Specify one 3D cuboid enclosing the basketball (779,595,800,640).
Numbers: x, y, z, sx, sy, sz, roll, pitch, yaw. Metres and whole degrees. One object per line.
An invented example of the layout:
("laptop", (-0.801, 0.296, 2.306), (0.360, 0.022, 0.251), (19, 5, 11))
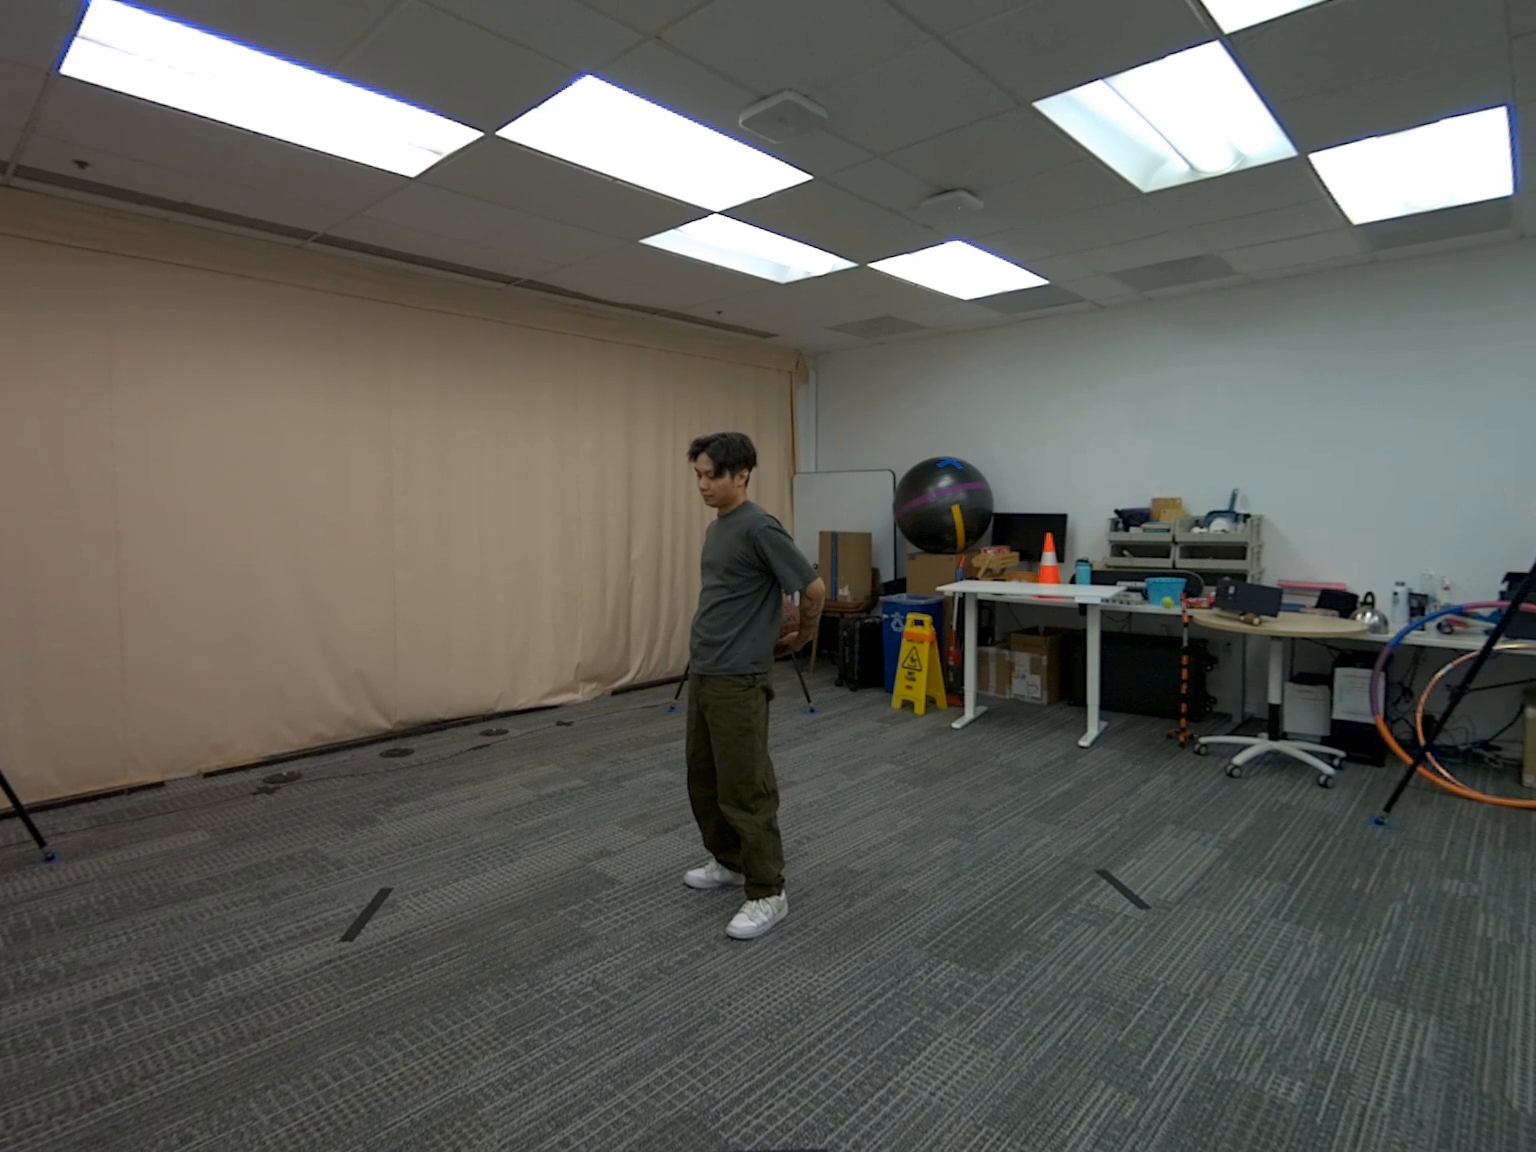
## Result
("basketball", (0.006, 0.182, 3.134), (0.236, 0.235, 0.237), (0, 4, -2))
